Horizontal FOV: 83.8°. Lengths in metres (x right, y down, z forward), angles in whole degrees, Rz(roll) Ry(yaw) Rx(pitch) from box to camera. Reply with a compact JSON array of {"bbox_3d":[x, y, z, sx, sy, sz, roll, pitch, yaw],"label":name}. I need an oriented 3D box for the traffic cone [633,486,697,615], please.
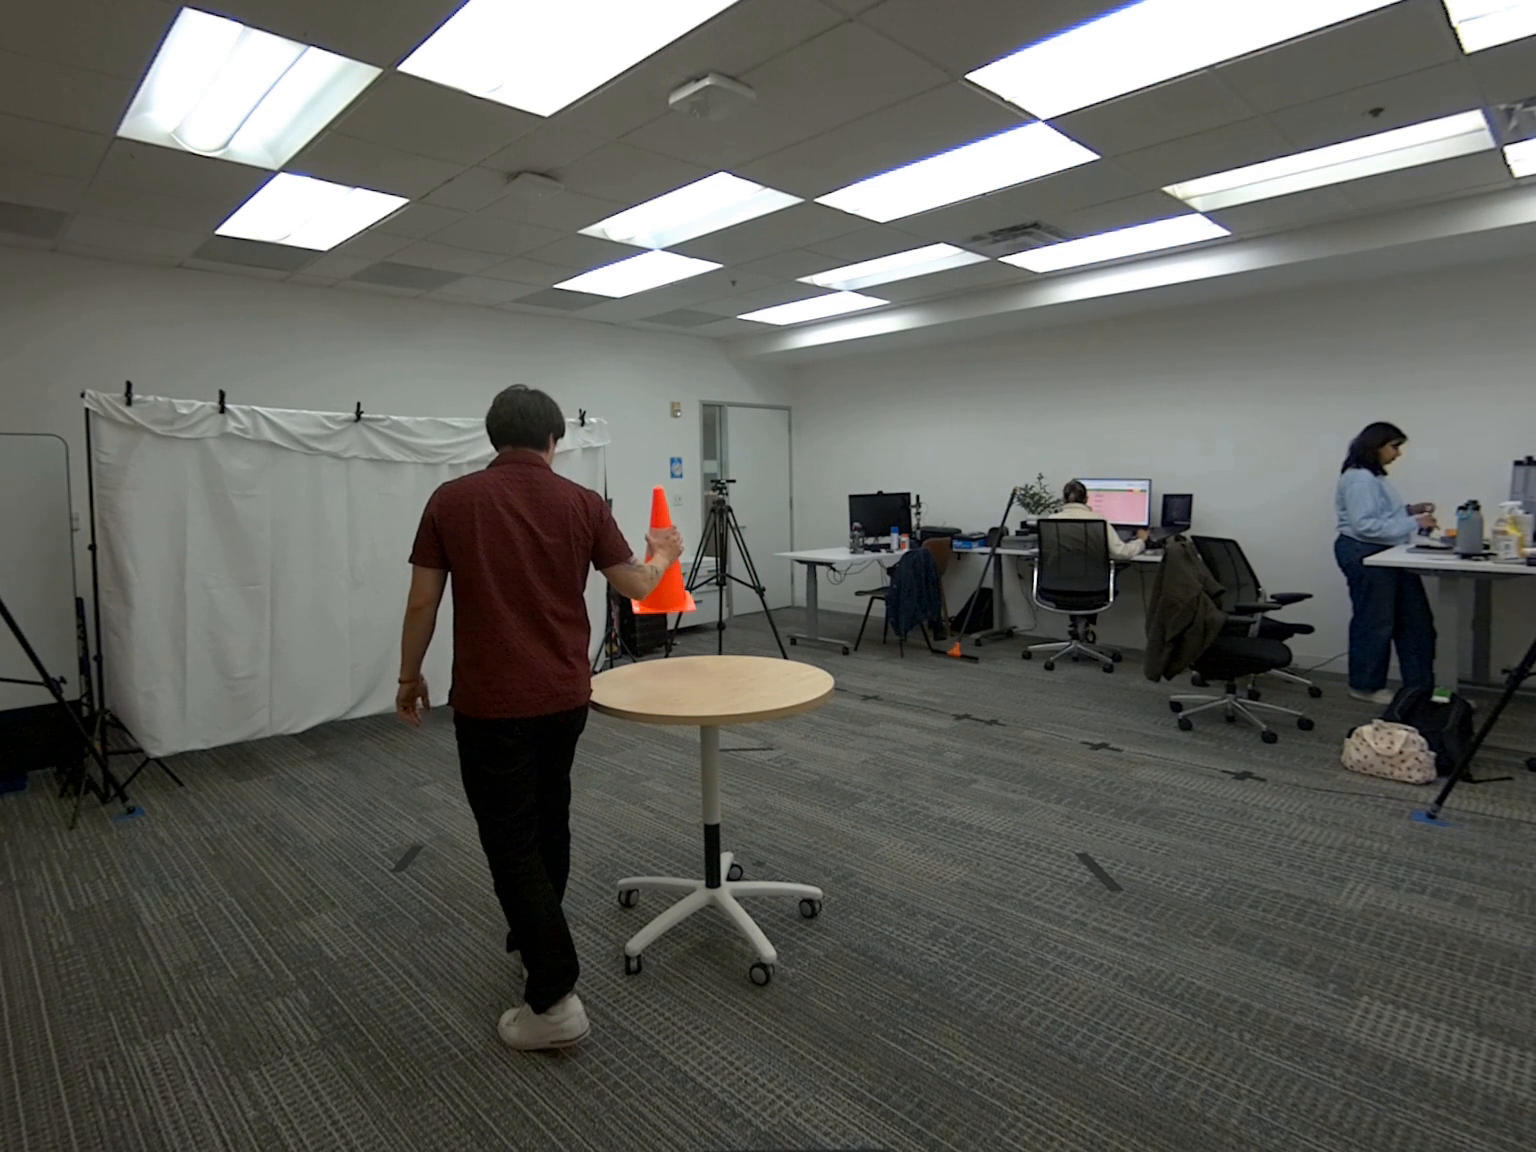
[{"bbox_3d":[-0.340,-0.097,2.714,0.202,0.379,0.209,-5,15,-17],"label":"traffic cone"}]
